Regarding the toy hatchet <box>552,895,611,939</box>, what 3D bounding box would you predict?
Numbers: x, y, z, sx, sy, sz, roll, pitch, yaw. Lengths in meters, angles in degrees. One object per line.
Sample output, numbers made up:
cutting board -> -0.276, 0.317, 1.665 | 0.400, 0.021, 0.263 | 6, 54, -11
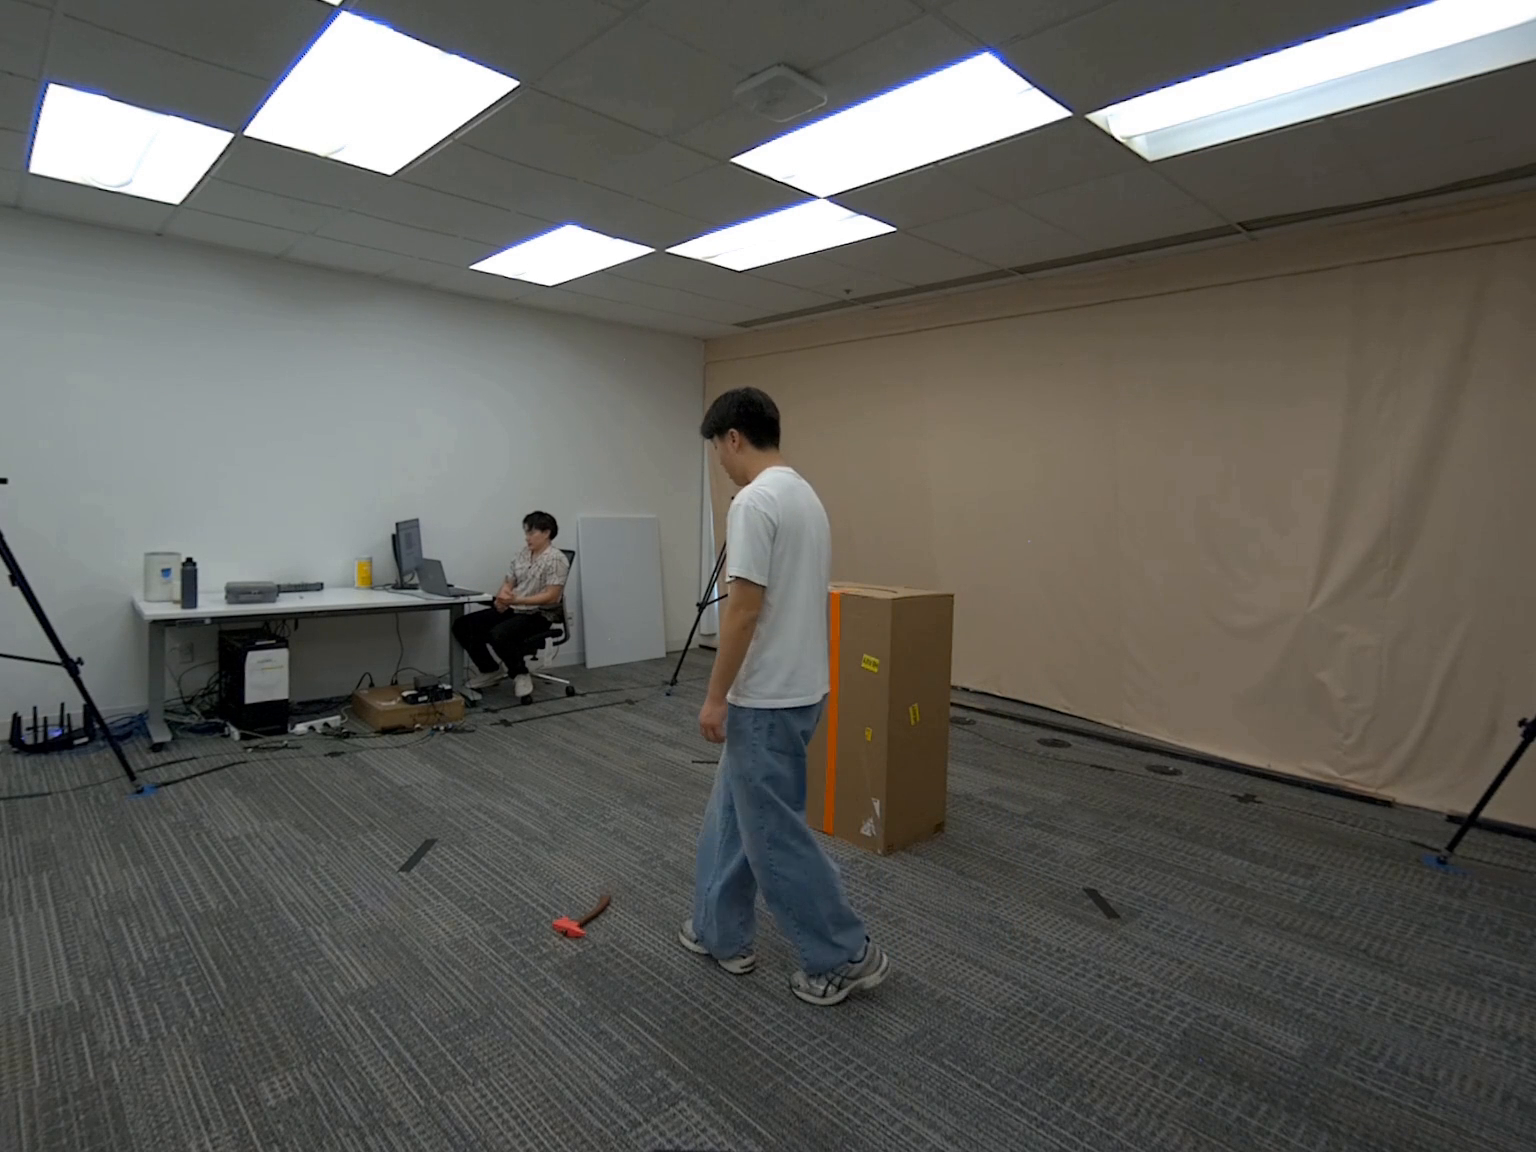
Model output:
toy hatchet -> -0.624, 1.115, 2.772 | 0.132, 0.029, 0.268 | 1, 3, 8
